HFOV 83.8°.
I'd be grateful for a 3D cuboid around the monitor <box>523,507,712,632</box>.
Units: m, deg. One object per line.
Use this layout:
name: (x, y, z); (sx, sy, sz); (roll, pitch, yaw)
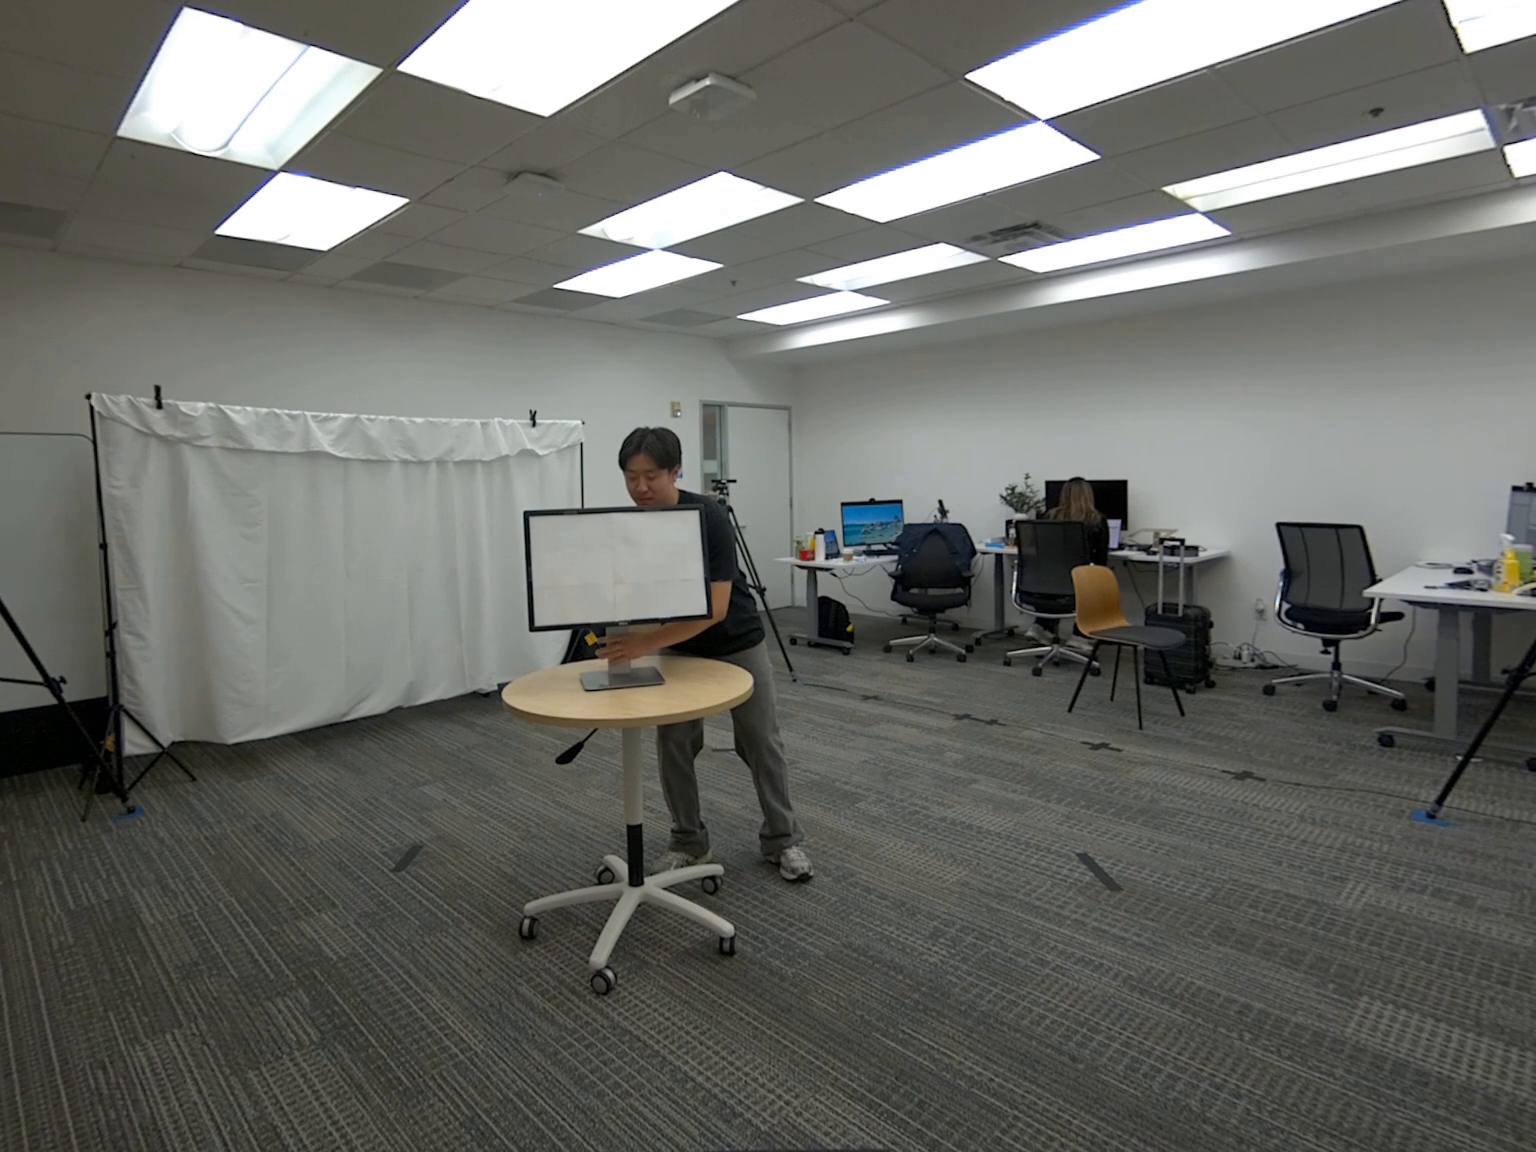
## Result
monitor: (-0.466, 0.070, 2.639); (0.555, 0.562, 0.226); (-3, 7, -12)
